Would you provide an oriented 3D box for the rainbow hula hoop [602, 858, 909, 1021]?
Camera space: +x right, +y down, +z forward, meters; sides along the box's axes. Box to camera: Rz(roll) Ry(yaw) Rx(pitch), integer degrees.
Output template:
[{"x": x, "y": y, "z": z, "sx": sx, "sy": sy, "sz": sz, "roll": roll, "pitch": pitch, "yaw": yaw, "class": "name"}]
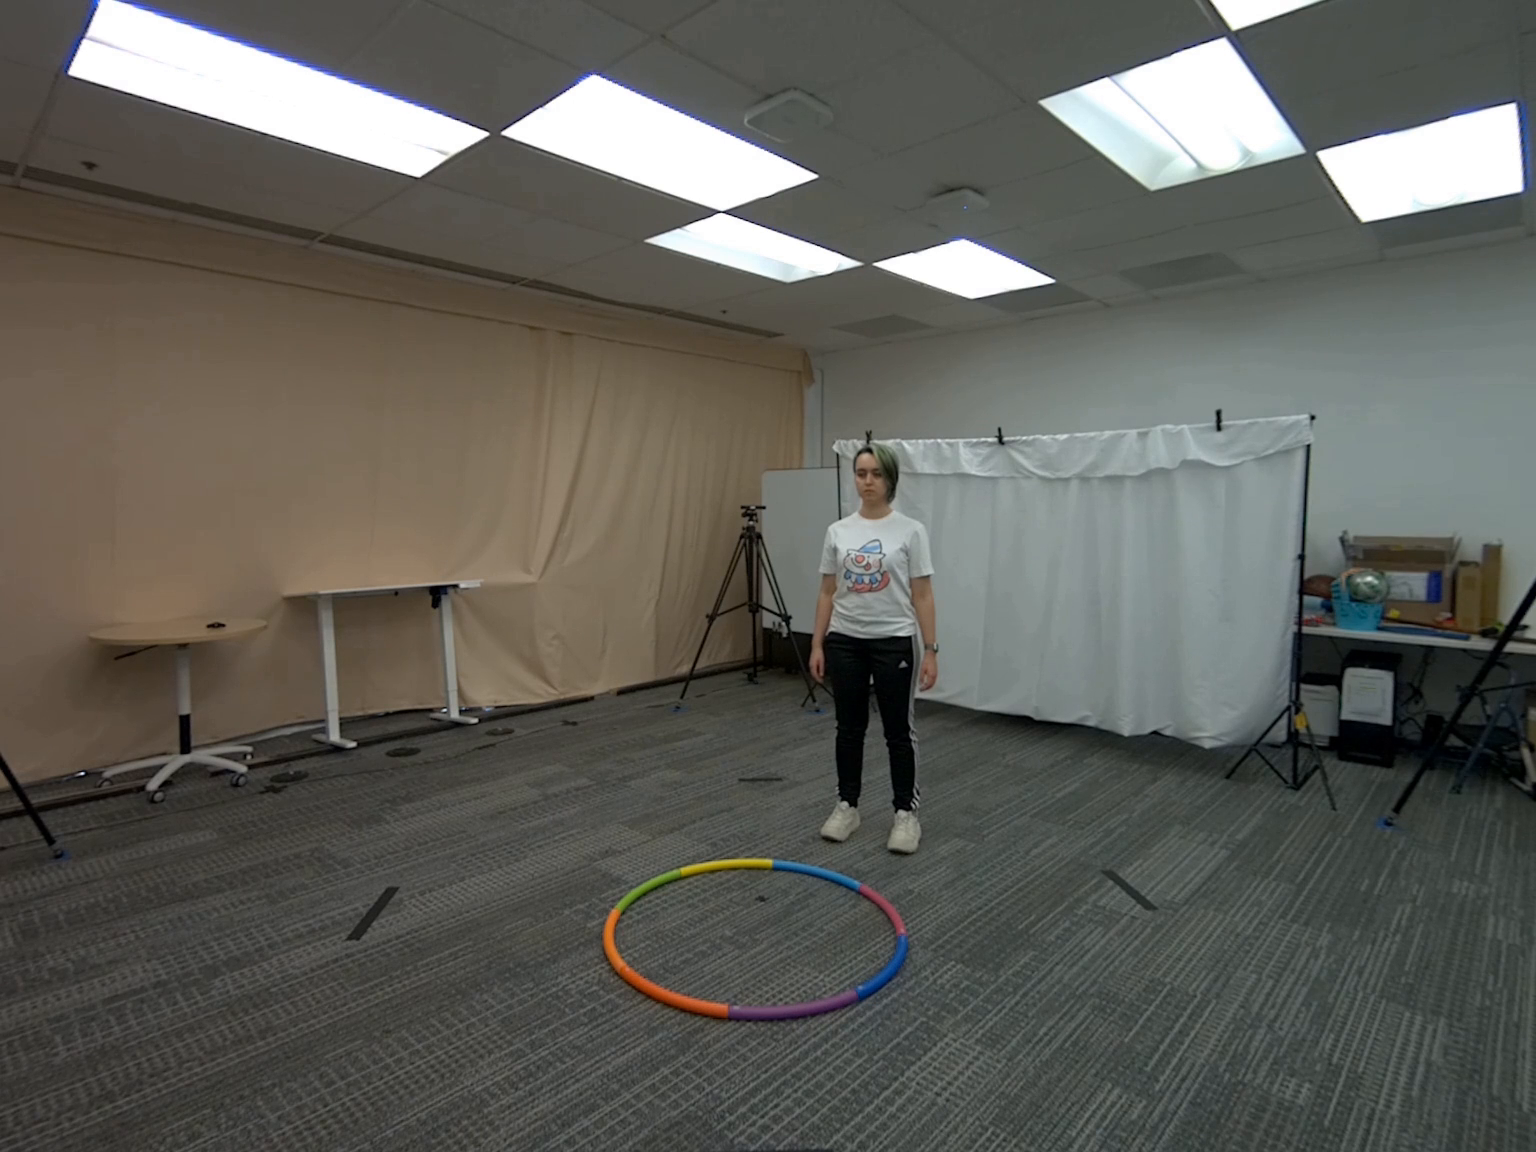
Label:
[{"x": -0.044, "y": 1.134, "z": 2.762, "sx": 0.978, "sy": 0.035, "sz": 0.982, "roll": -1, "pitch": 4, "yaw": -2, "class": "rainbow hula hoop"}]
